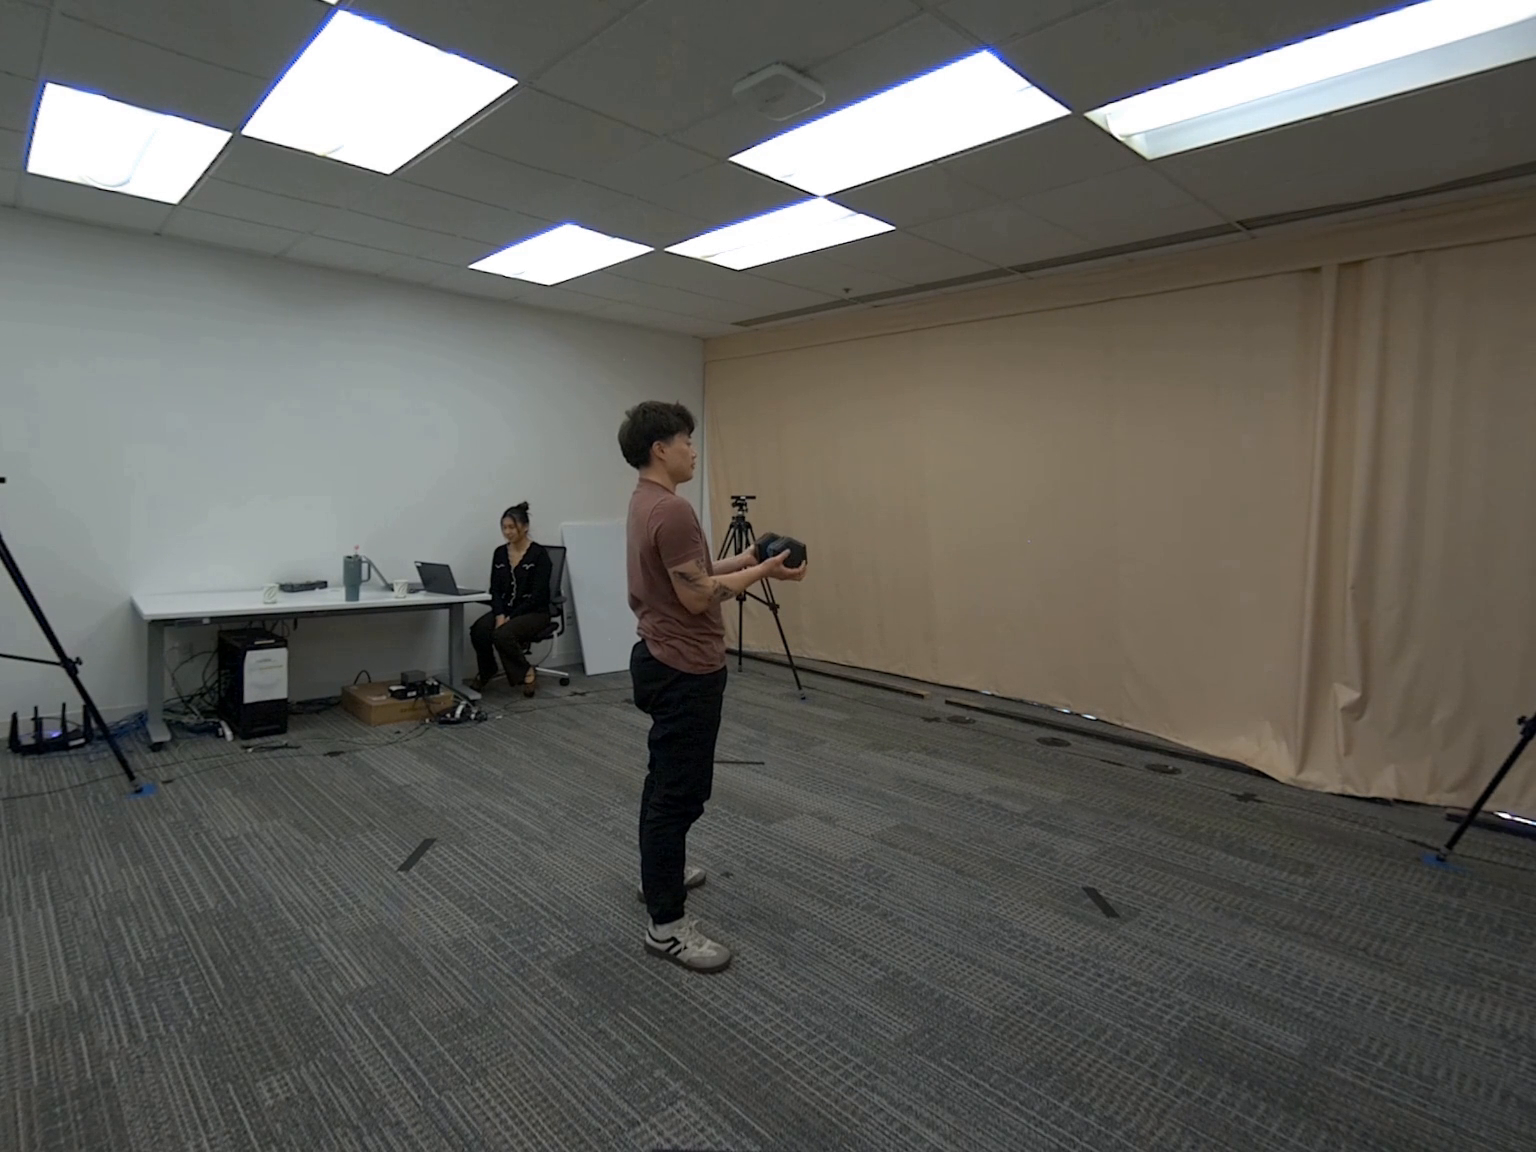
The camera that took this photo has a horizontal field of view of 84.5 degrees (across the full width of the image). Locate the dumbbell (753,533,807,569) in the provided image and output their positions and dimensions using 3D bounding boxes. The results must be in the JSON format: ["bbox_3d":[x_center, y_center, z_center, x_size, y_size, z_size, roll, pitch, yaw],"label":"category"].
[{"bbox_3d":[0.028,-0.078,2.747,0.121,0.109,0.297,24,0,-14],"label":"dumbbell"}]
